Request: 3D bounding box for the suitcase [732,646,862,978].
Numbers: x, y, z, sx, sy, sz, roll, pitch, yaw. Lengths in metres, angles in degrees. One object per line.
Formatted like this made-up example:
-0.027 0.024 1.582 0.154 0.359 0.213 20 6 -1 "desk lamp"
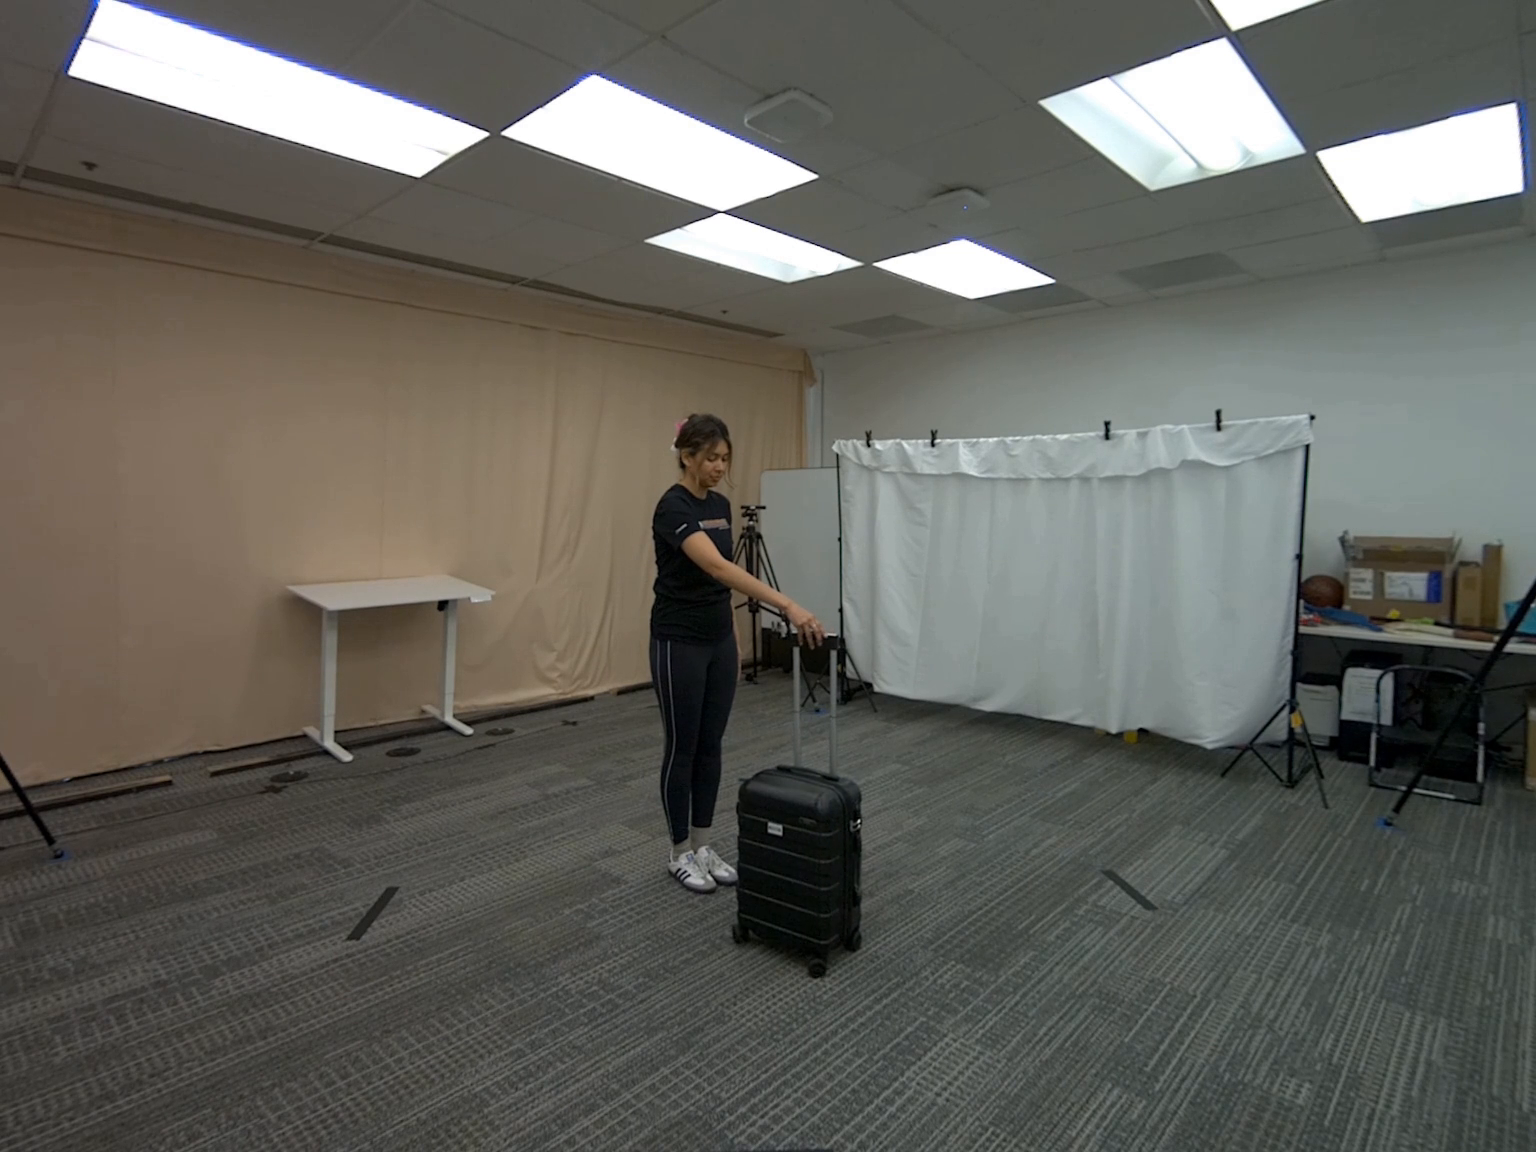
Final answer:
0.102 0.696 2.639 0.396 0.976 0.250 2 5 36 "suitcase"
